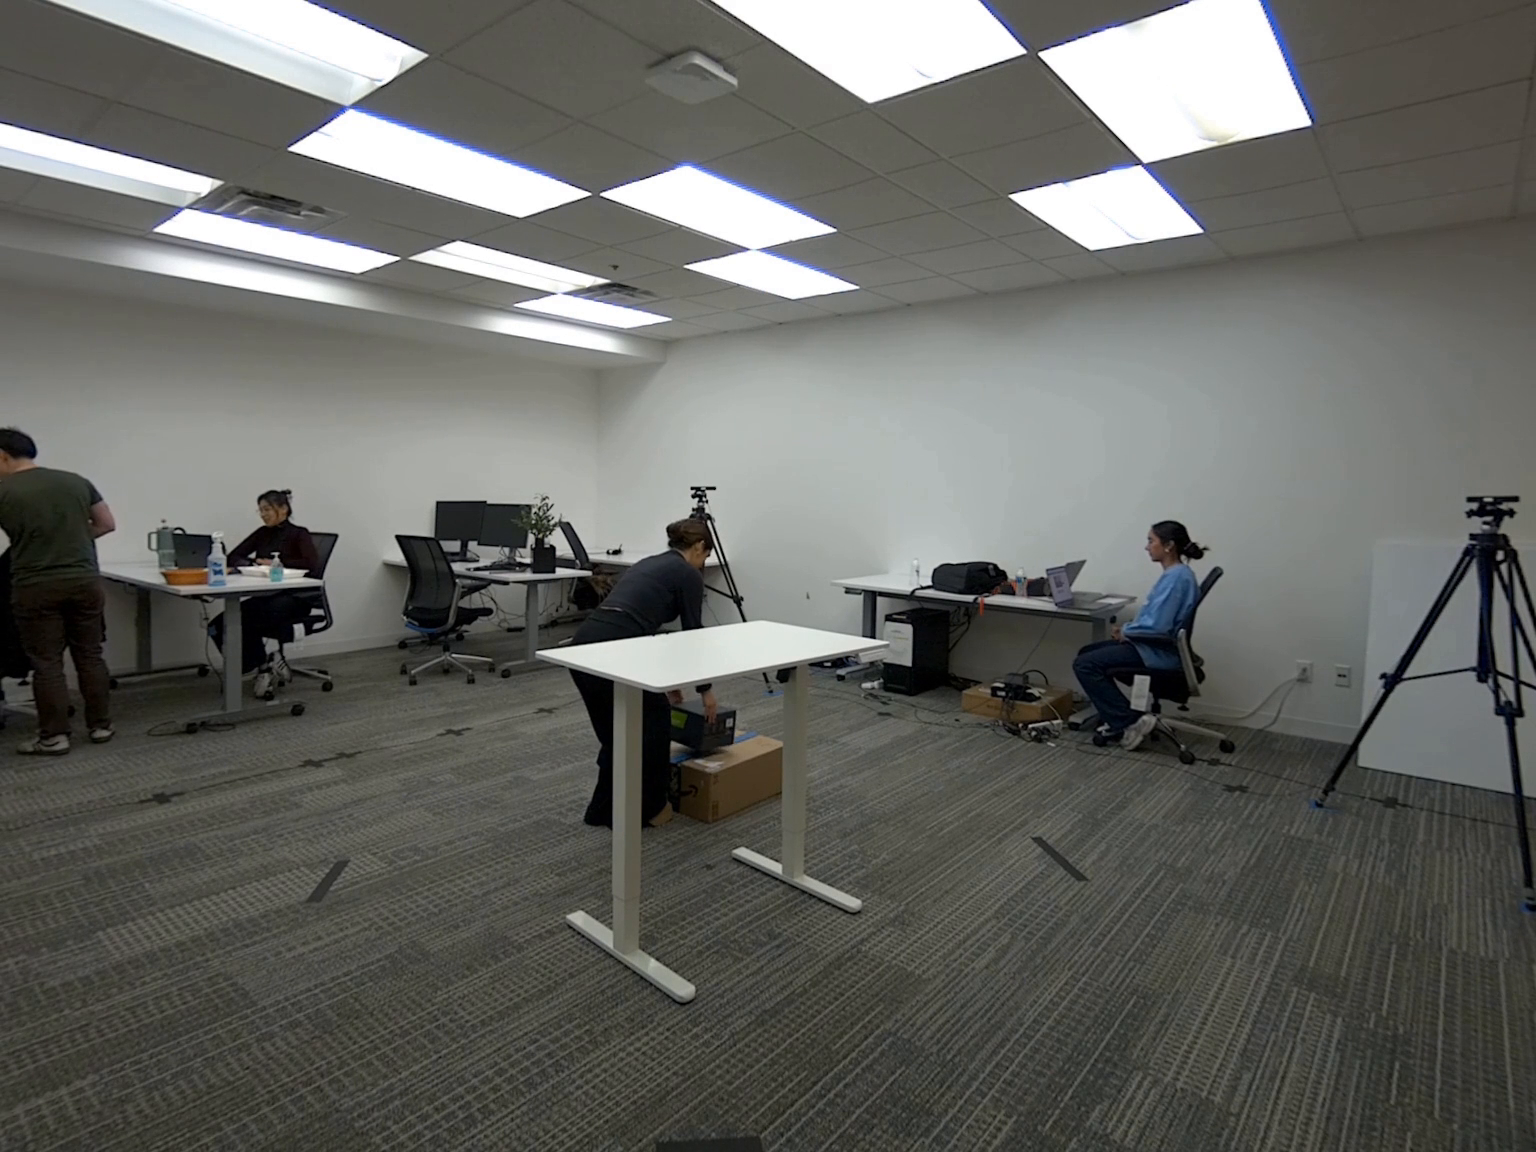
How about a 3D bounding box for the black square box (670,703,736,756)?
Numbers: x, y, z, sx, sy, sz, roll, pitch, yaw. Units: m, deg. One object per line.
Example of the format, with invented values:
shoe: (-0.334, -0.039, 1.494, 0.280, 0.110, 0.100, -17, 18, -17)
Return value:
black square box: (-0.312, 0.648, 3.792, 0.236, 0.155, 0.210, 8, 5, 41)
